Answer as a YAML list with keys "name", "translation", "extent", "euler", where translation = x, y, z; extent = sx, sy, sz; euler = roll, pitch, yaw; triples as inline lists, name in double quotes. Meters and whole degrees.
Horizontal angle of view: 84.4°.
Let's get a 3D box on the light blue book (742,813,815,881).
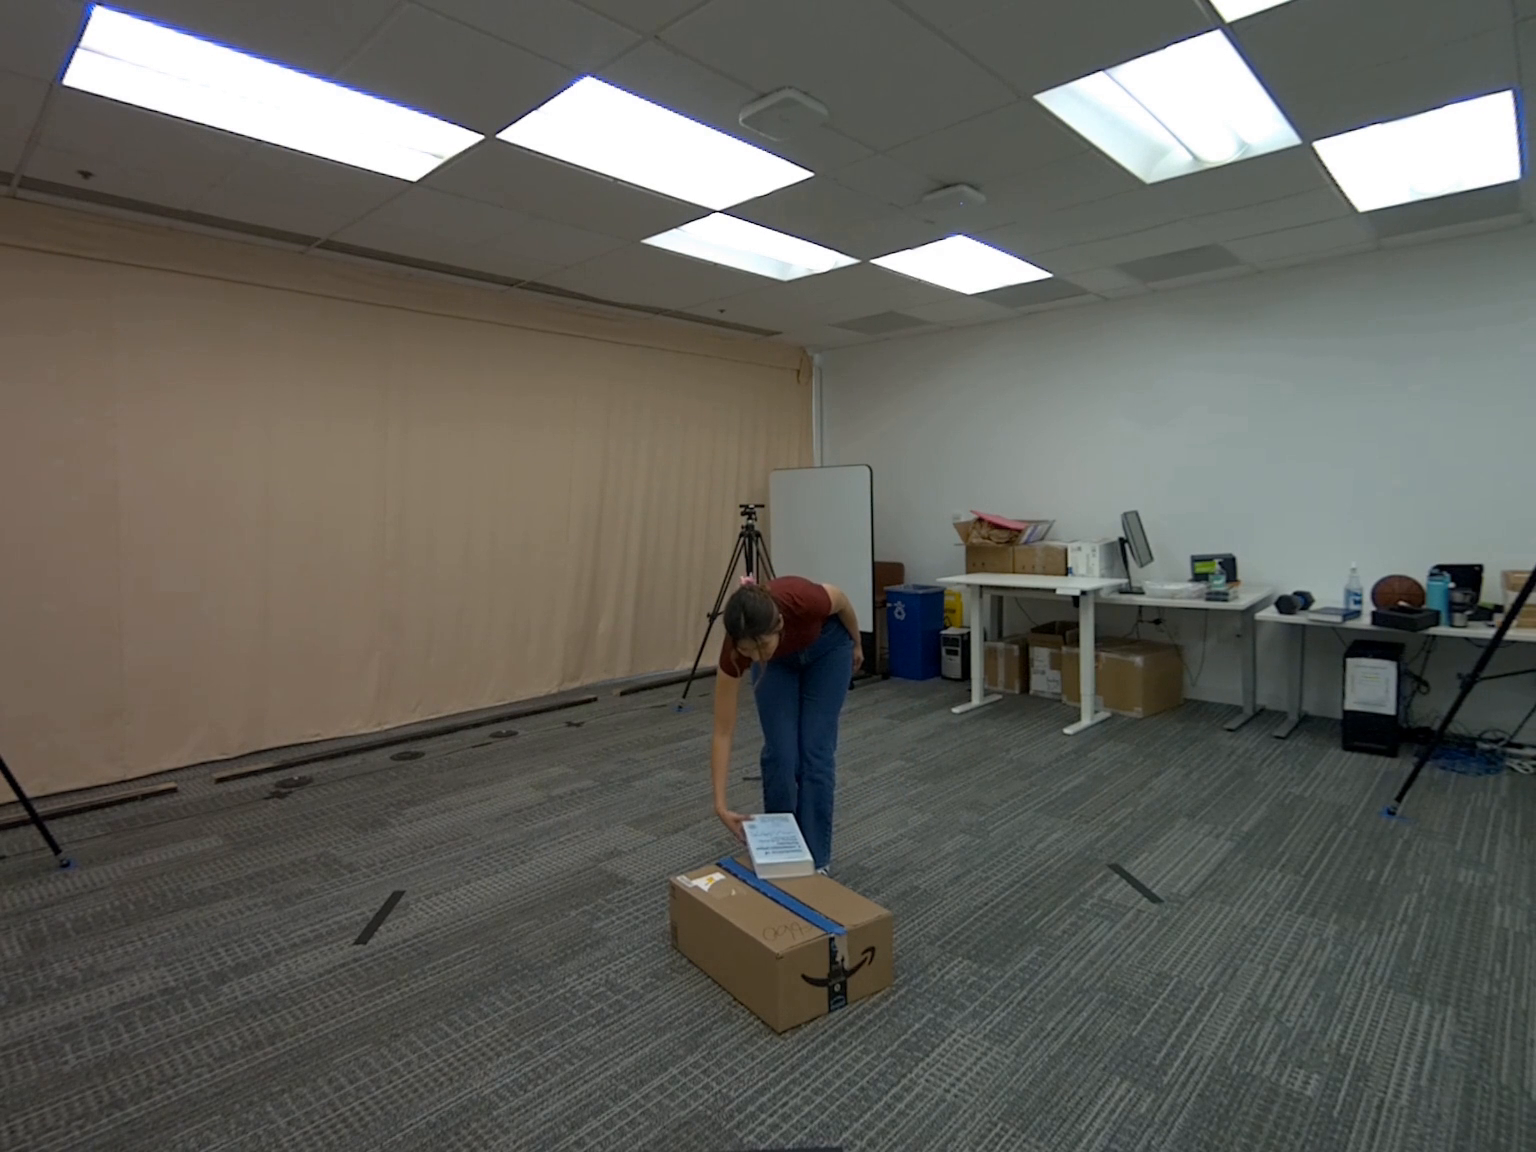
- name: "light blue book"
  translation: [0.033, 0.881, 2.772]
  extent: [0.189, 0.058, 0.266]
  euler: [-1, 16, -13]
